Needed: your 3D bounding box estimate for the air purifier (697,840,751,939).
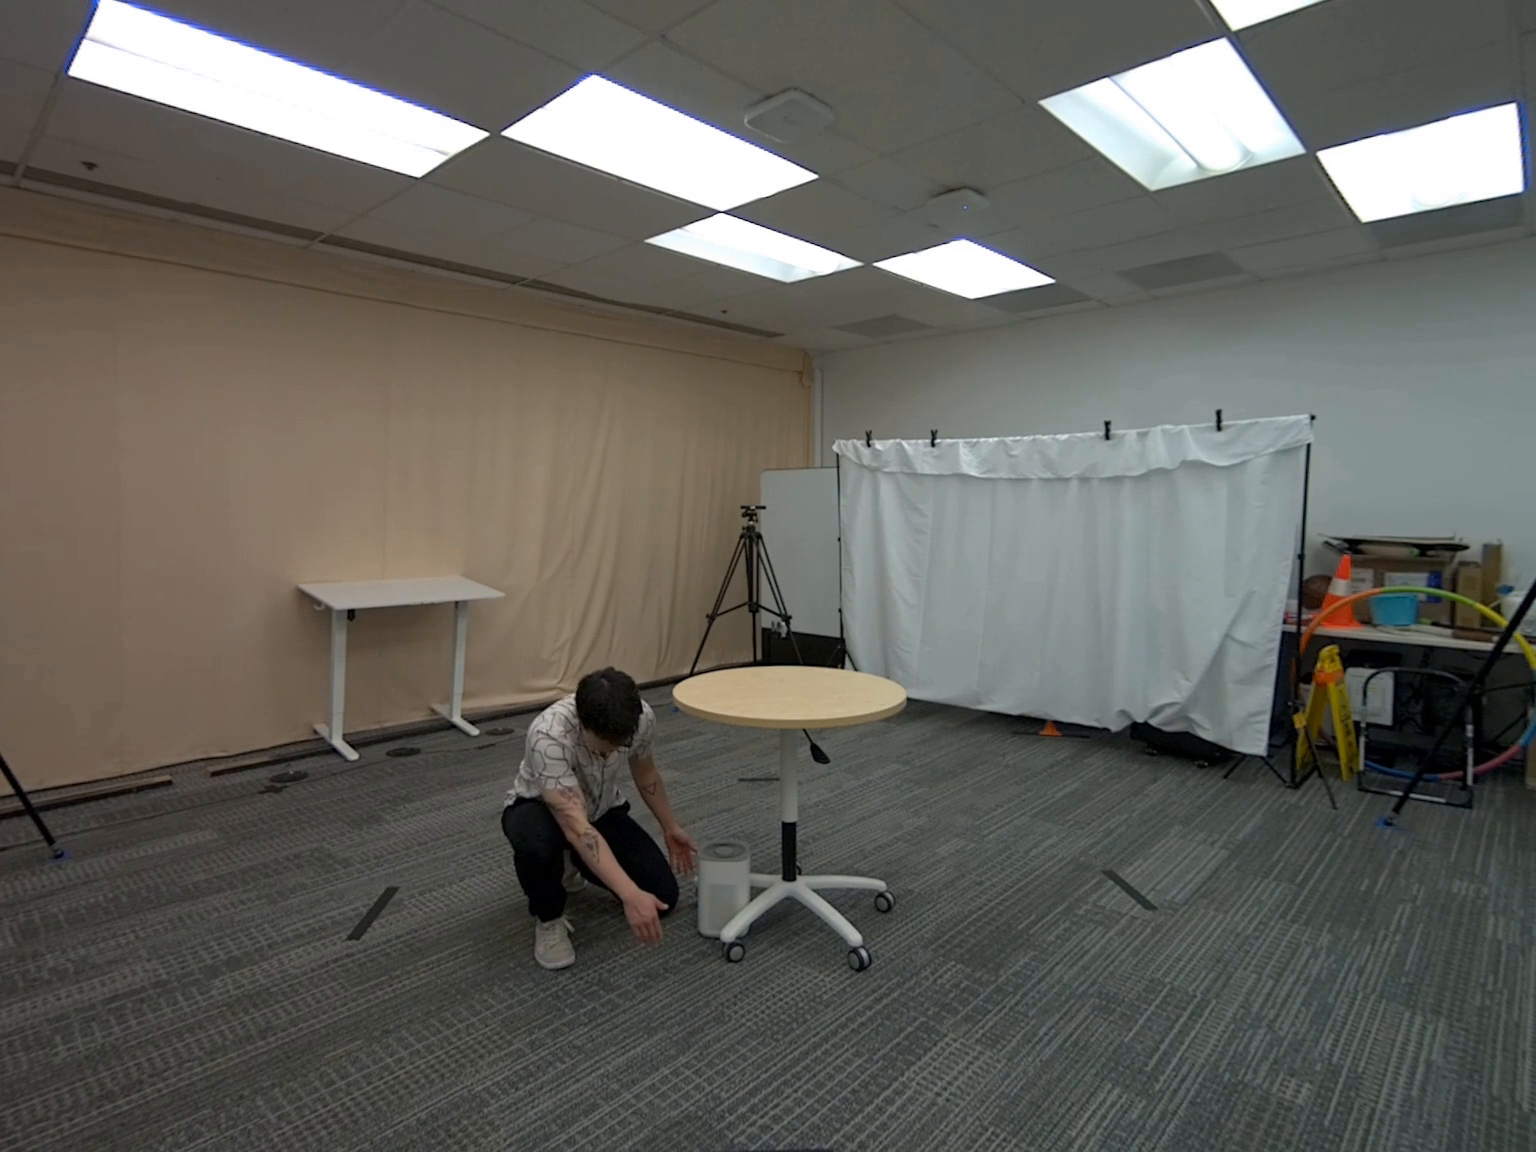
[{"bbox_3d":[-0.144,1.029,2.756,0.172,0.265,0.171,1,3,0],"label":"air purifier"}]
